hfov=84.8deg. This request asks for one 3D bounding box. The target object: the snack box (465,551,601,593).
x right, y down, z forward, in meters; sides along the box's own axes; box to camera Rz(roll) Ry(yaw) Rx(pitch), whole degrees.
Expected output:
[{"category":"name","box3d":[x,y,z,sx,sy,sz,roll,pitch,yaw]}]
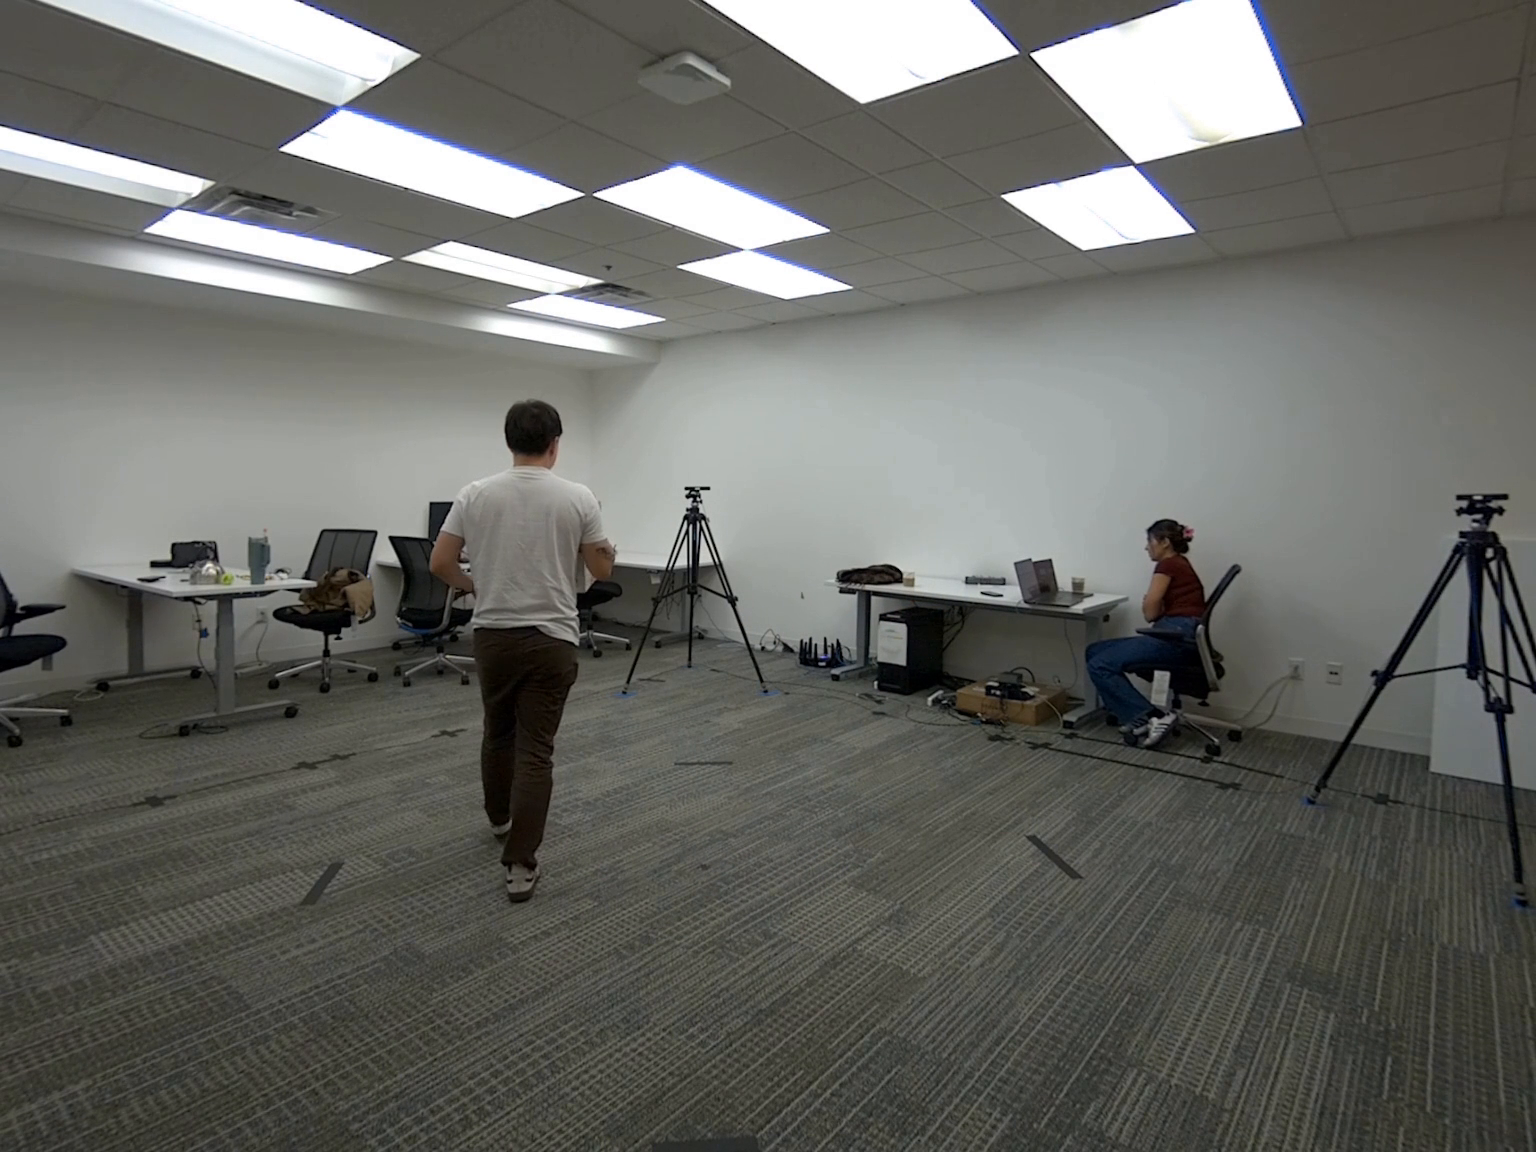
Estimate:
[{"category":"snack box","box3d":[-0.876,-0.135,3.192,0.407,0.337,0.207,0,10,3]}]
